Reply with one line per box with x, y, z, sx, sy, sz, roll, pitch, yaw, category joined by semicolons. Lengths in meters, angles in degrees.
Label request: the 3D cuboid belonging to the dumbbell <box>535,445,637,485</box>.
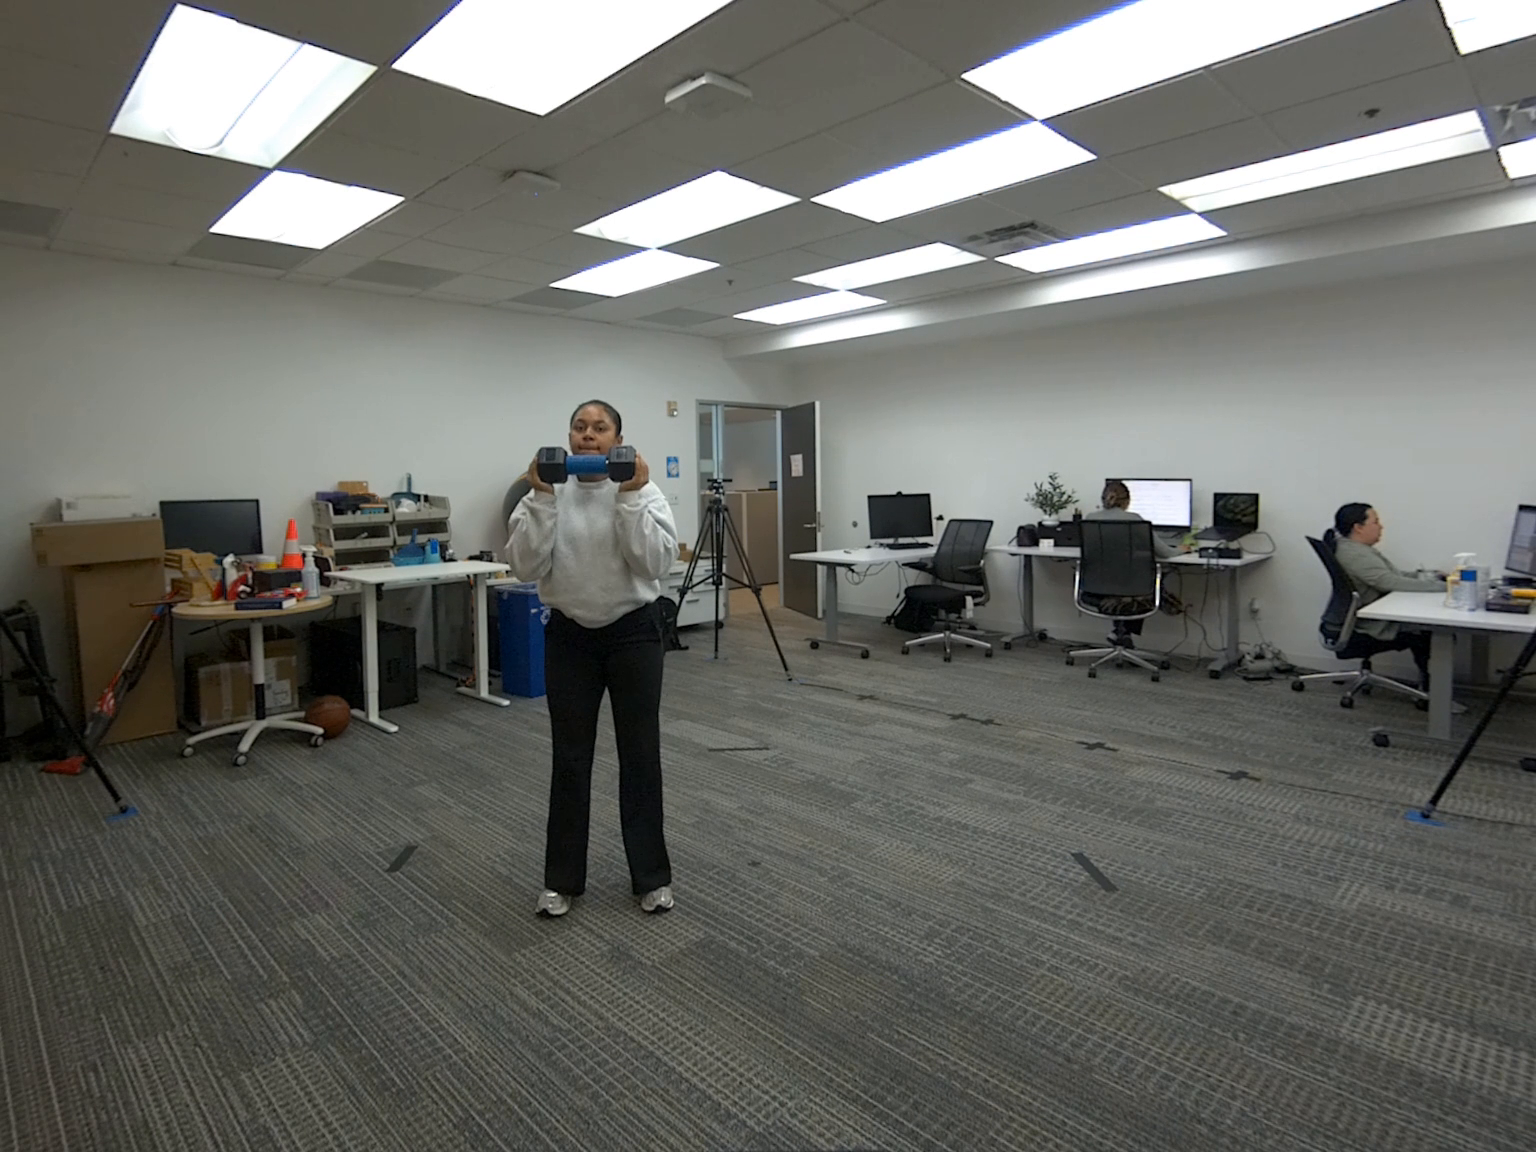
-0.550;-0.325;2.590;0.293;0.126;0.106;-1;-33;-1;dumbbell
